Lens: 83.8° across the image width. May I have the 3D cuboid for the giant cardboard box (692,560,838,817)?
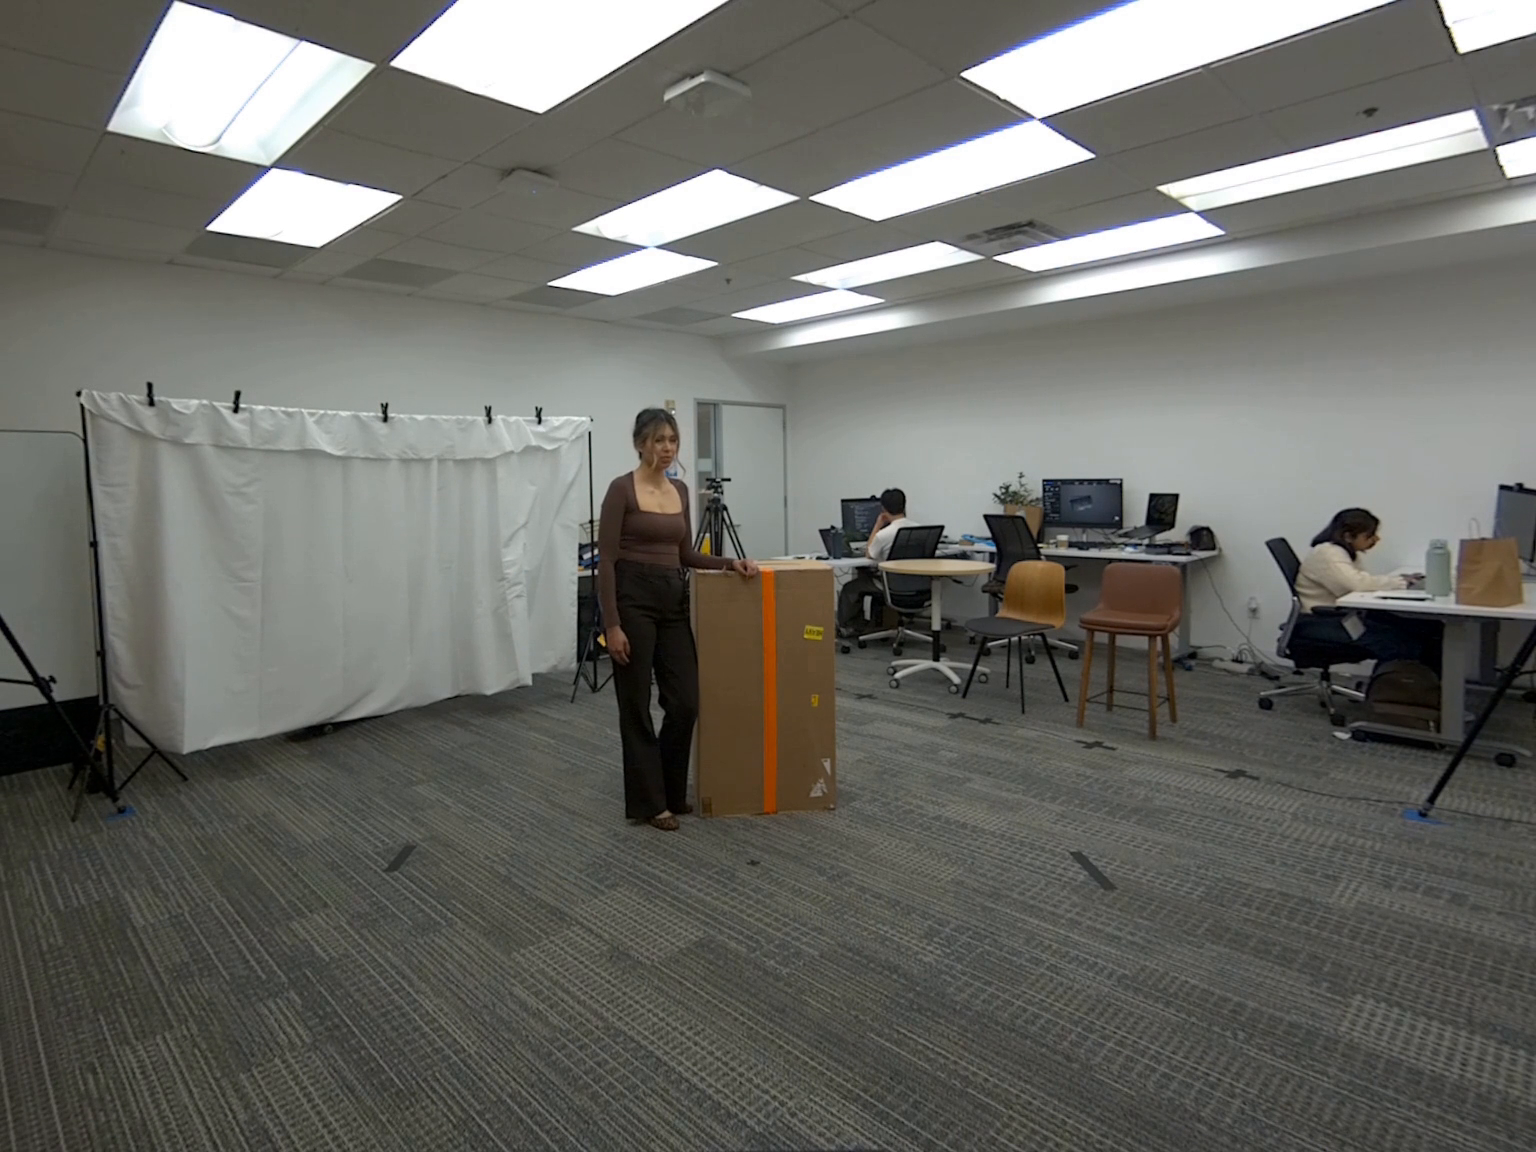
[{"bbox_3d":[-0.027,0.462,3.740,0.580,1.024,0.452,-1,4,-8],"label":"giant cardboard box"}]
